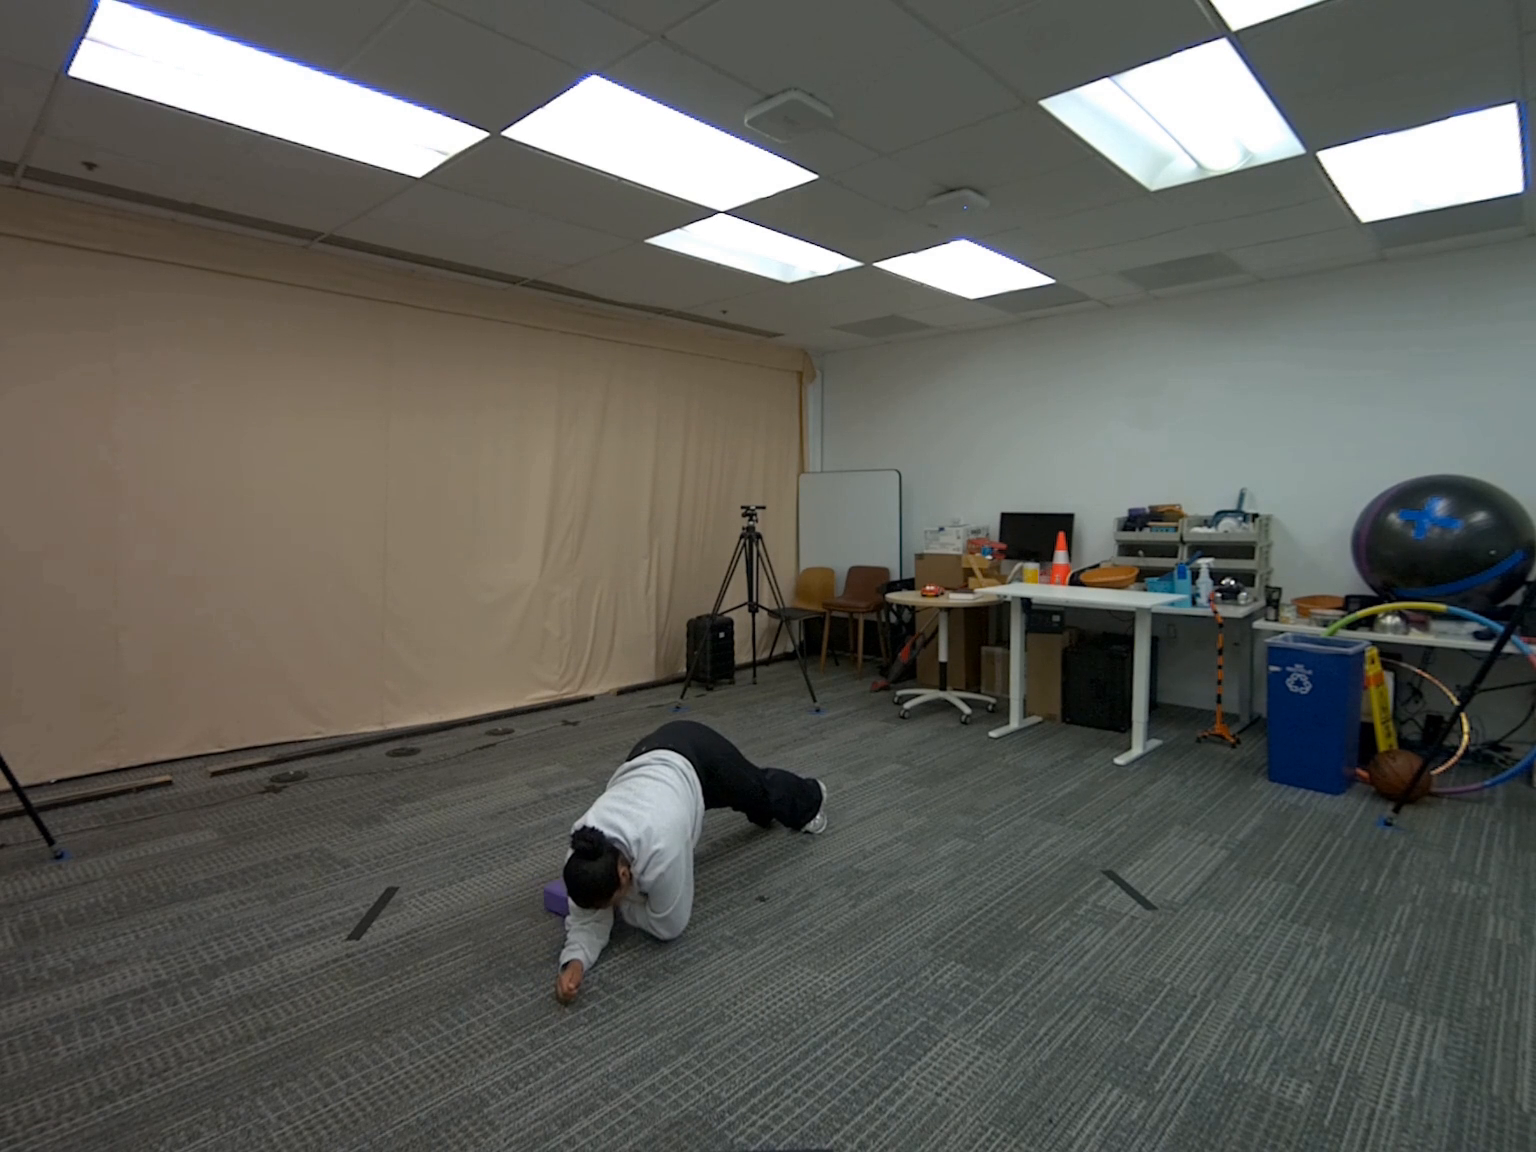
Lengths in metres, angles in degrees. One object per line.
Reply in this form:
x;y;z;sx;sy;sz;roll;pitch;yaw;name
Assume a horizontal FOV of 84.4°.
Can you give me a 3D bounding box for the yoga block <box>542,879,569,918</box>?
-0.638;1.117;2.889;0.237;0.076;0.145;6;11;37;yoga block
